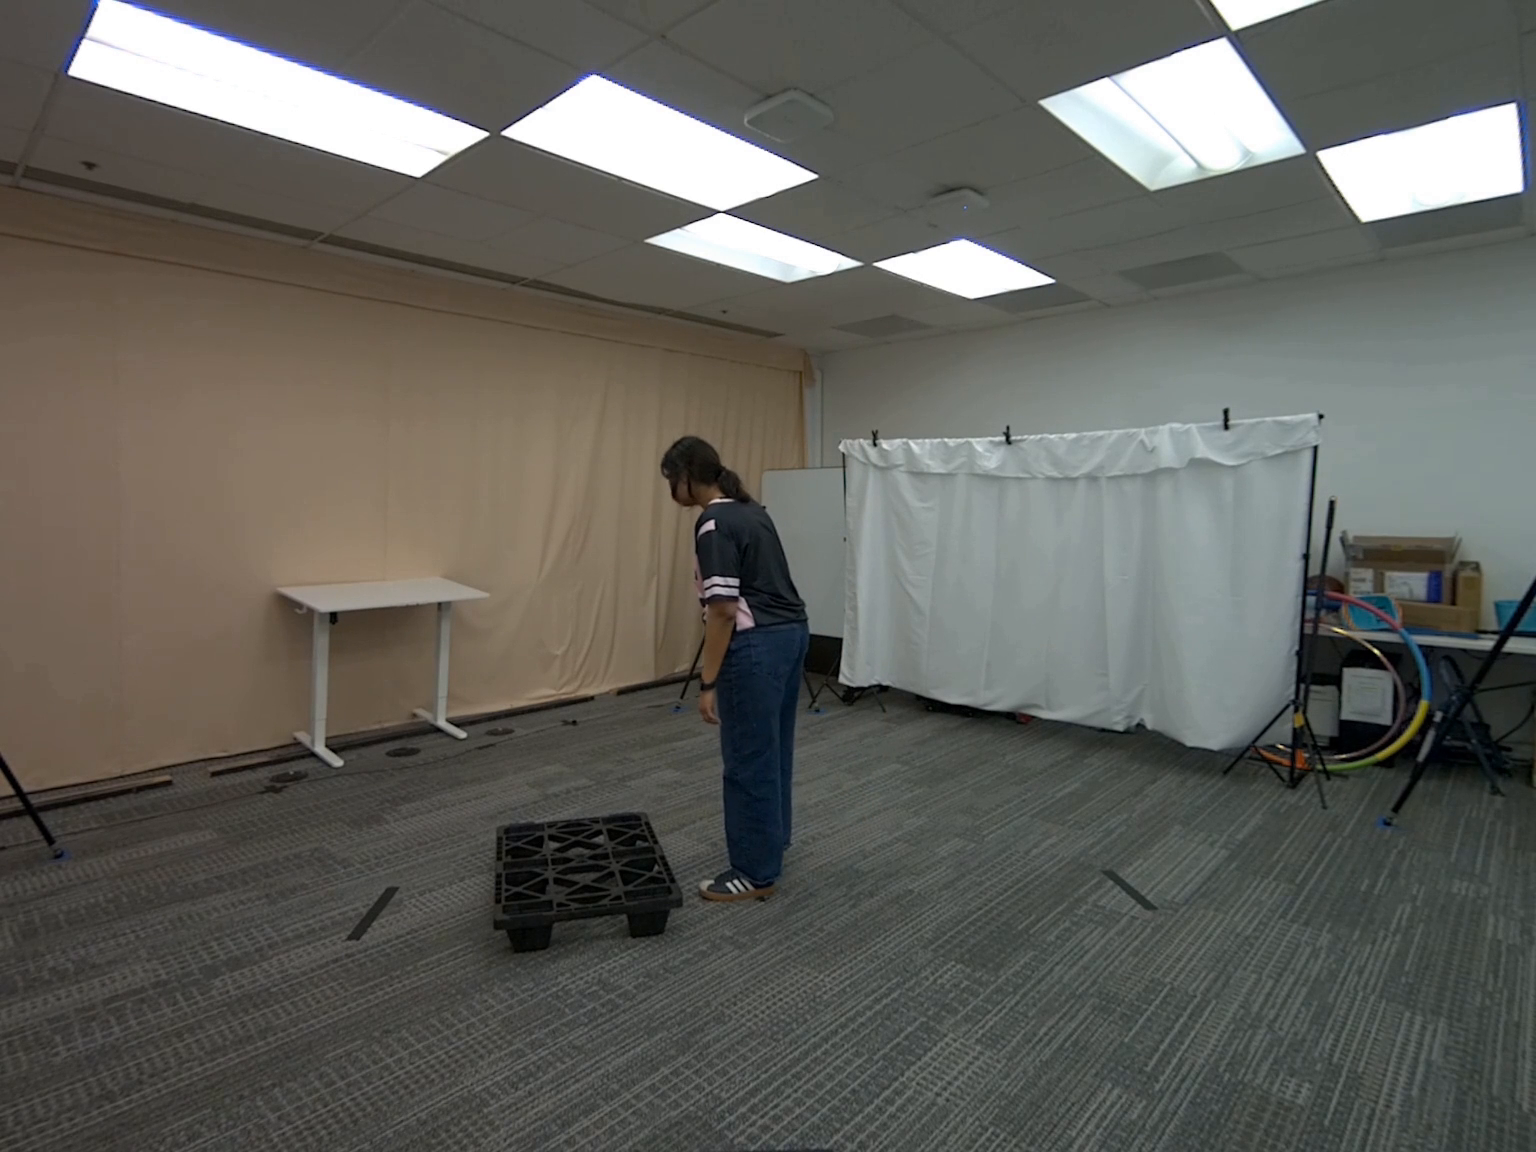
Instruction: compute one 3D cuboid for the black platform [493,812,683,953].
[{"bbox_3d":[-0.672,1.078,3.033,0.596,0.143,0.820,-1,5,-16],"label":"black platform"}]
